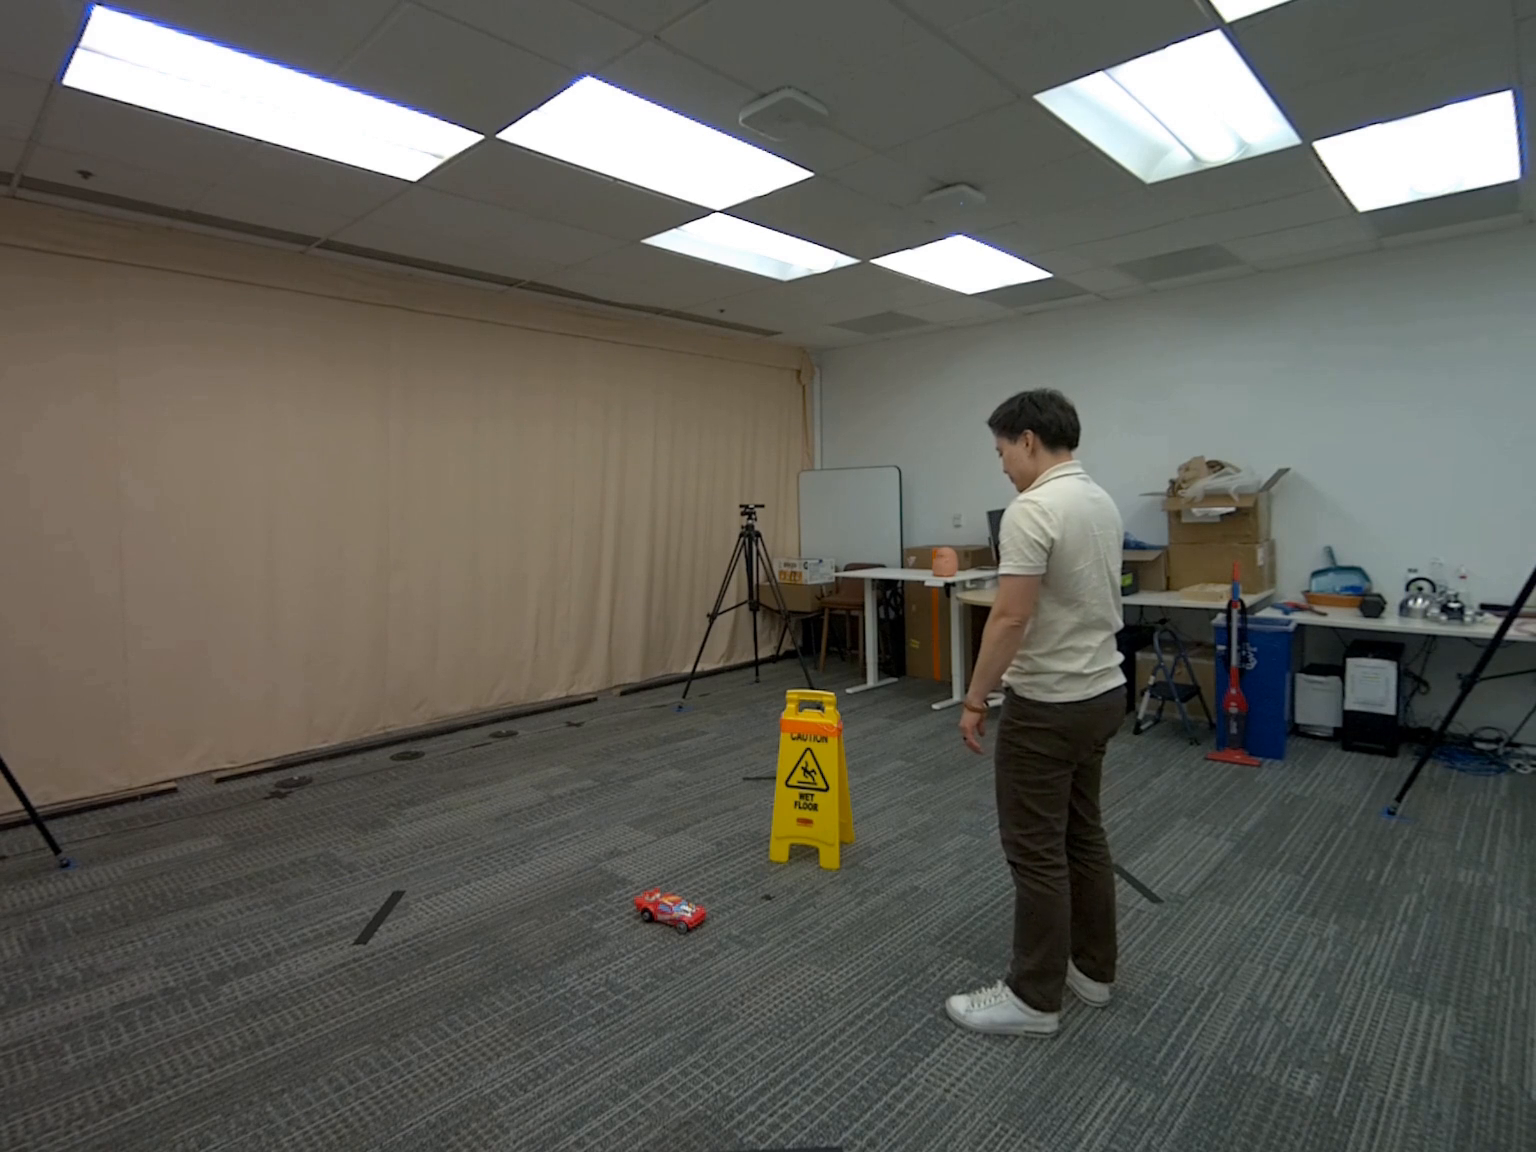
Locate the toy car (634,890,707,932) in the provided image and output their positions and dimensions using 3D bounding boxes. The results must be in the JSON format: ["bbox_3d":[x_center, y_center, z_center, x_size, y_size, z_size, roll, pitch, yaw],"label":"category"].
[{"bbox_3d":[-0.336,1.128,2.836,0.263,0.083,0.127,14,13,32],"label":"toy car"}]
